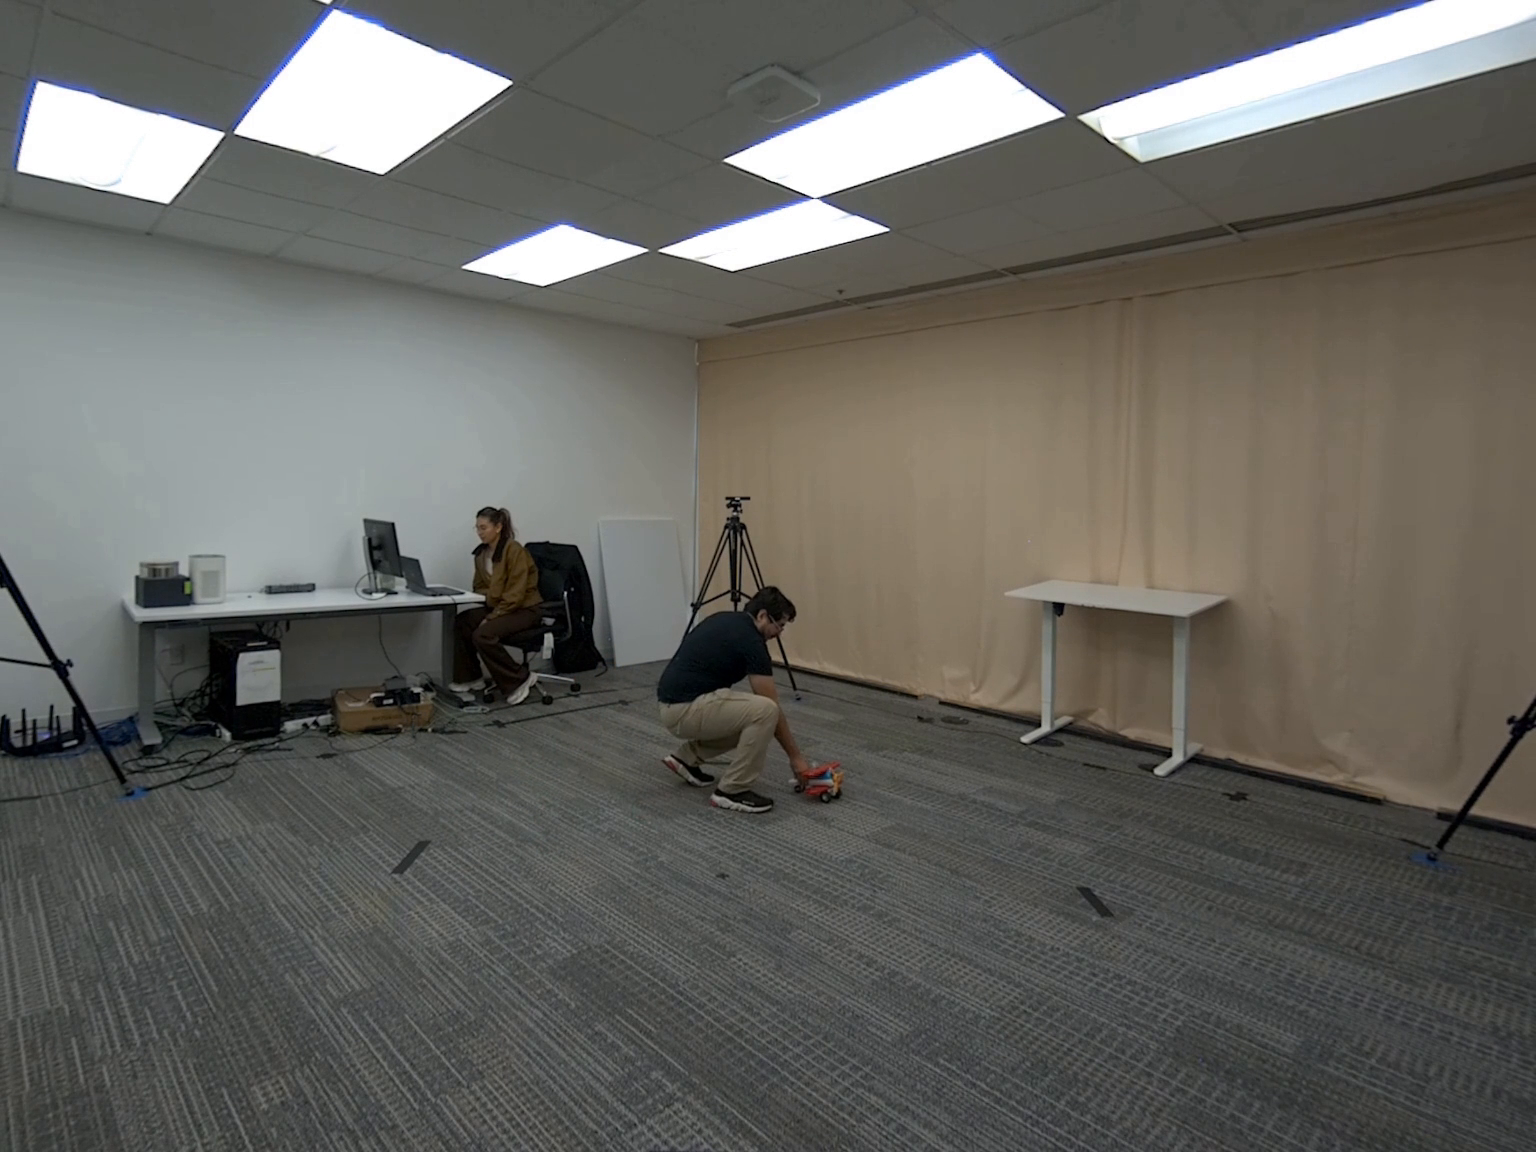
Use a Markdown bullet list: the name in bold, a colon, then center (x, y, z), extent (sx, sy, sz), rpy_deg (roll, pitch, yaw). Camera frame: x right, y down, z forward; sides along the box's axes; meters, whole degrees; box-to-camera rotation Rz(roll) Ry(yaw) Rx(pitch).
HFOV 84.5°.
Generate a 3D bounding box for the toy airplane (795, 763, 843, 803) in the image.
- **toy airplane**: center (0.200, 0.967, 3.967), extent (0.261, 0.156, 0.249), rpy_deg (4, 5, 10)
